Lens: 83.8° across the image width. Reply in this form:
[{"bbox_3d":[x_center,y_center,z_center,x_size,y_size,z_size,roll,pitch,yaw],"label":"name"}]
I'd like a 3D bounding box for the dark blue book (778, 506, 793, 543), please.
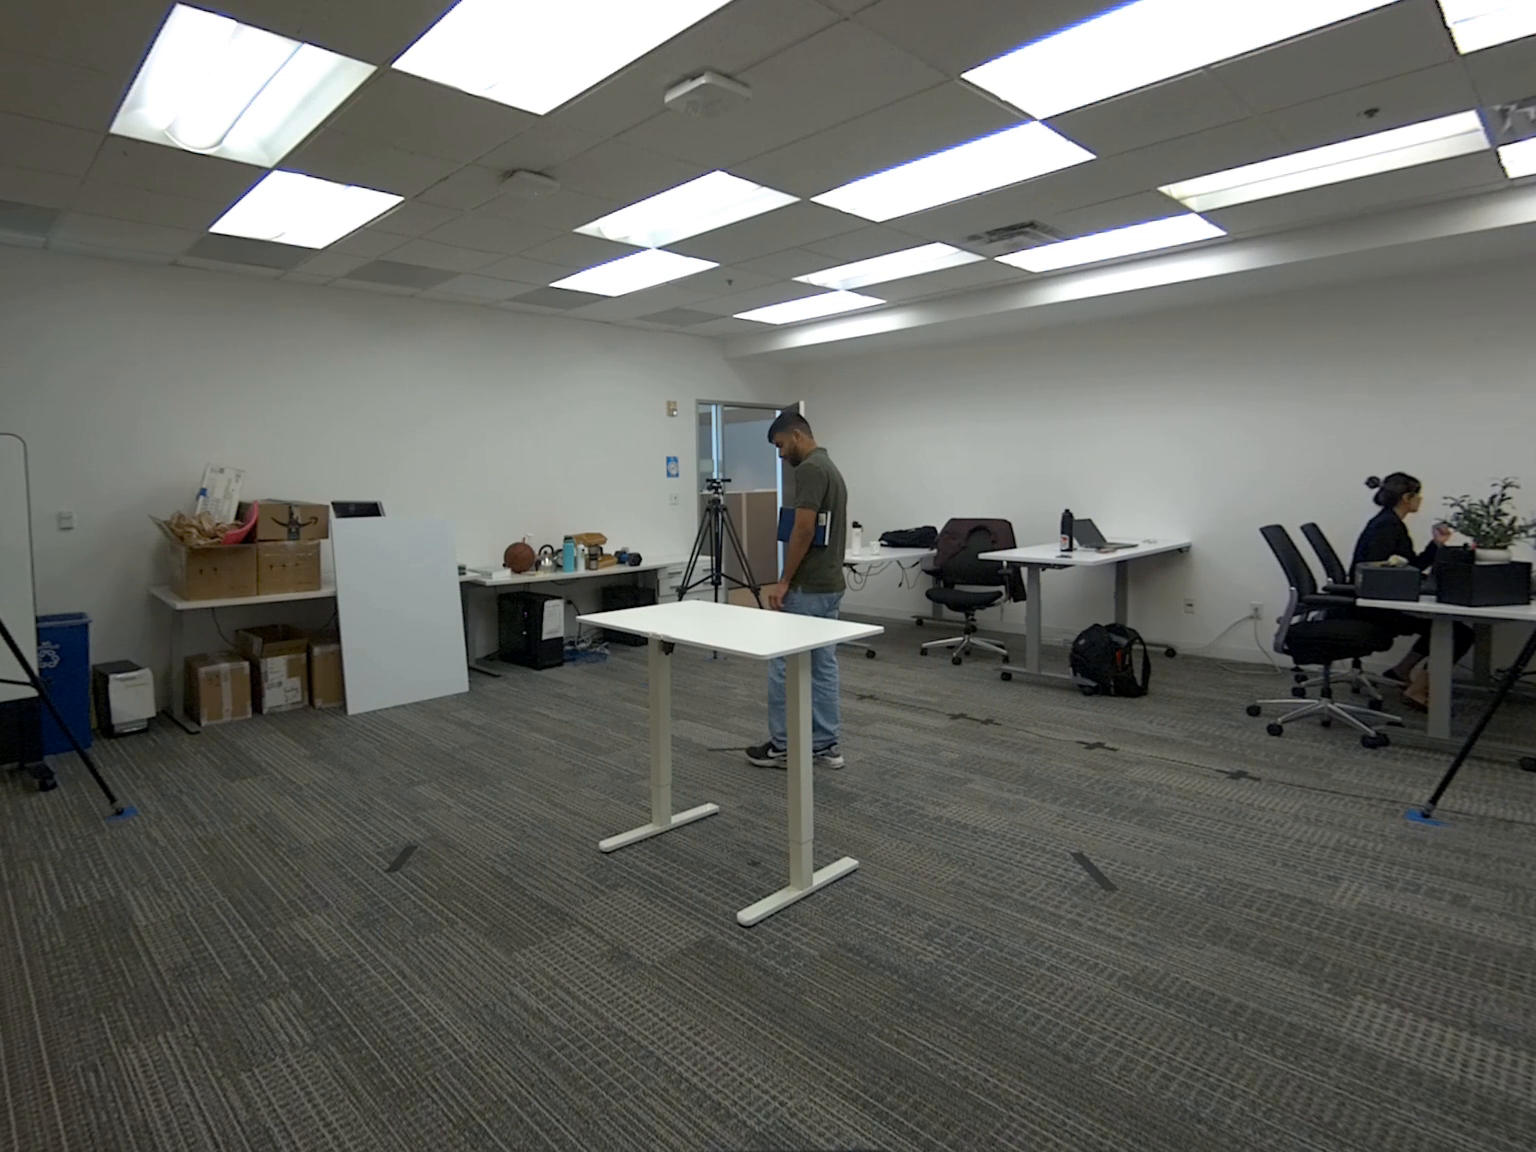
[{"bbox_3d":[0.173,-0.233,3.975,0.252,0.163,0.044,7,0,28],"label":"dark blue book"}]
